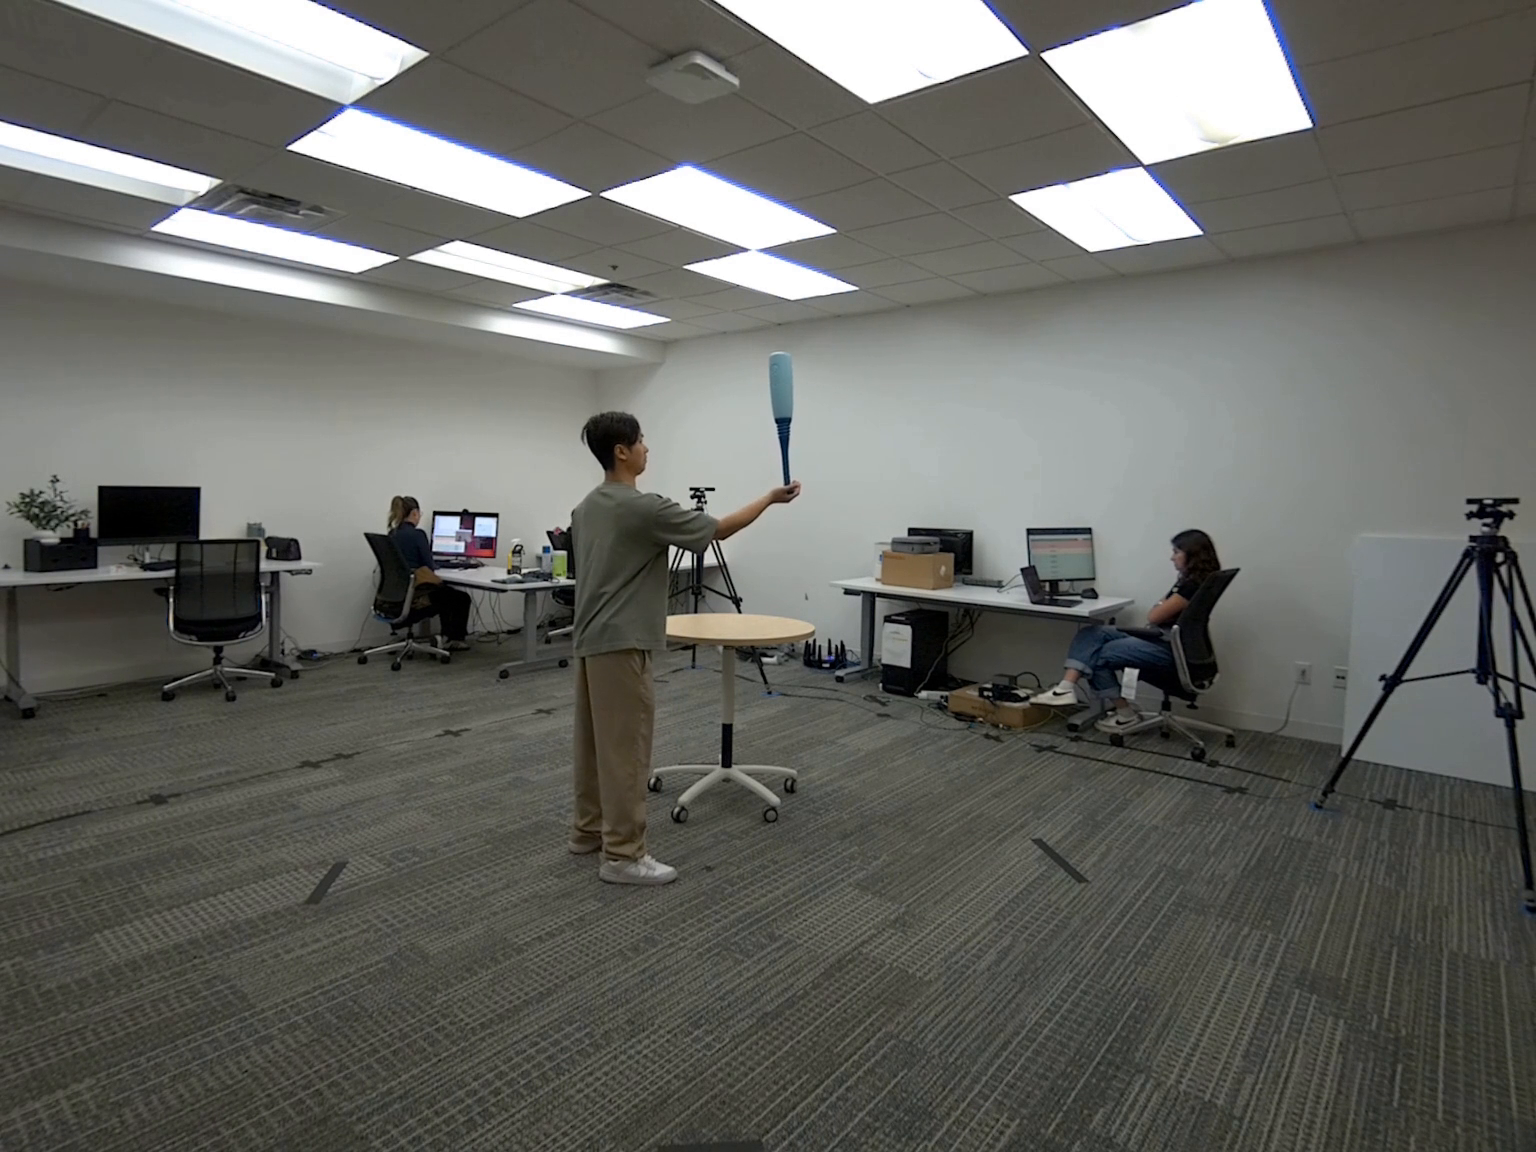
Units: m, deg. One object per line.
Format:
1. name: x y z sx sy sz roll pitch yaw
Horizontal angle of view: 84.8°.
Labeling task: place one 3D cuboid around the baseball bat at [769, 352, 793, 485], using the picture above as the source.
1. baseball bat: 0.045 -0.596 3.270 0.089 0.543 0.089 -4 0 -2
